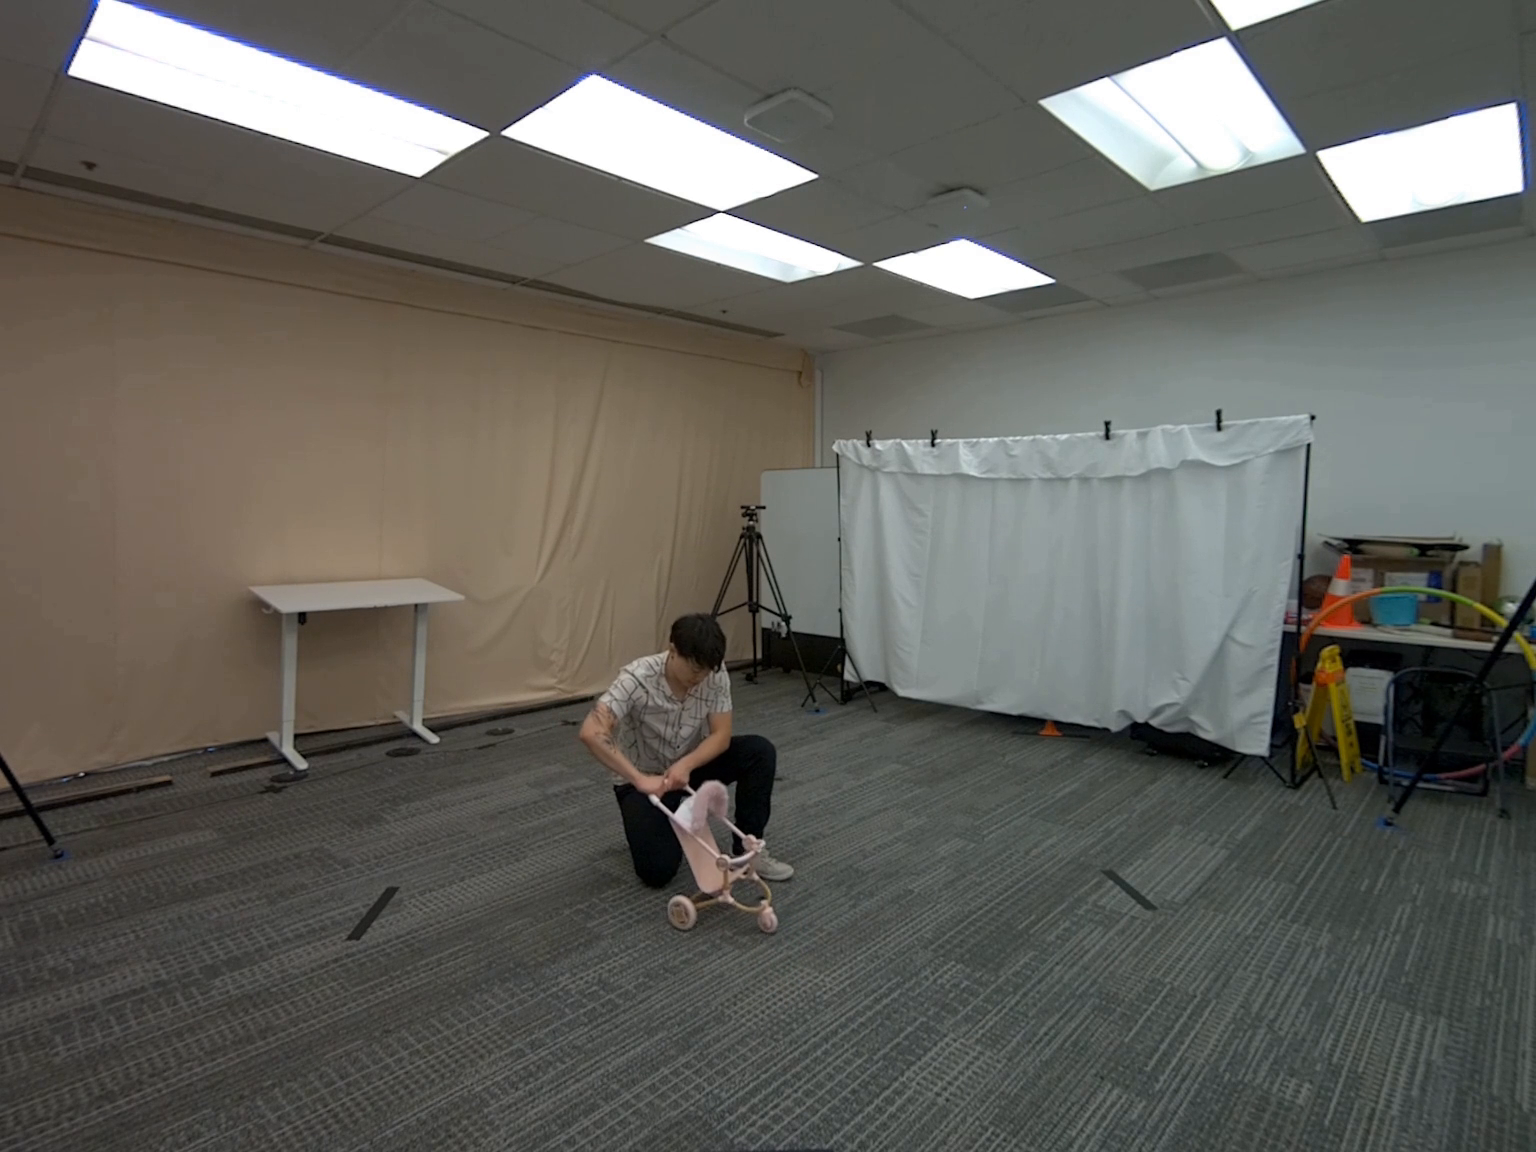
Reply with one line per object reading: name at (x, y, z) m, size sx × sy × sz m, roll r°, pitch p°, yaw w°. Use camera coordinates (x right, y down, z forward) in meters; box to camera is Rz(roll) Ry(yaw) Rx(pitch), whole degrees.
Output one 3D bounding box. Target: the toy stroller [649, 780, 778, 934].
toy stroller at (-0.171, 0.926, 2.837) m, size 0.349 × 0.538 × 0.273 m, roll -18°, pitch -8°, yaw 32°
